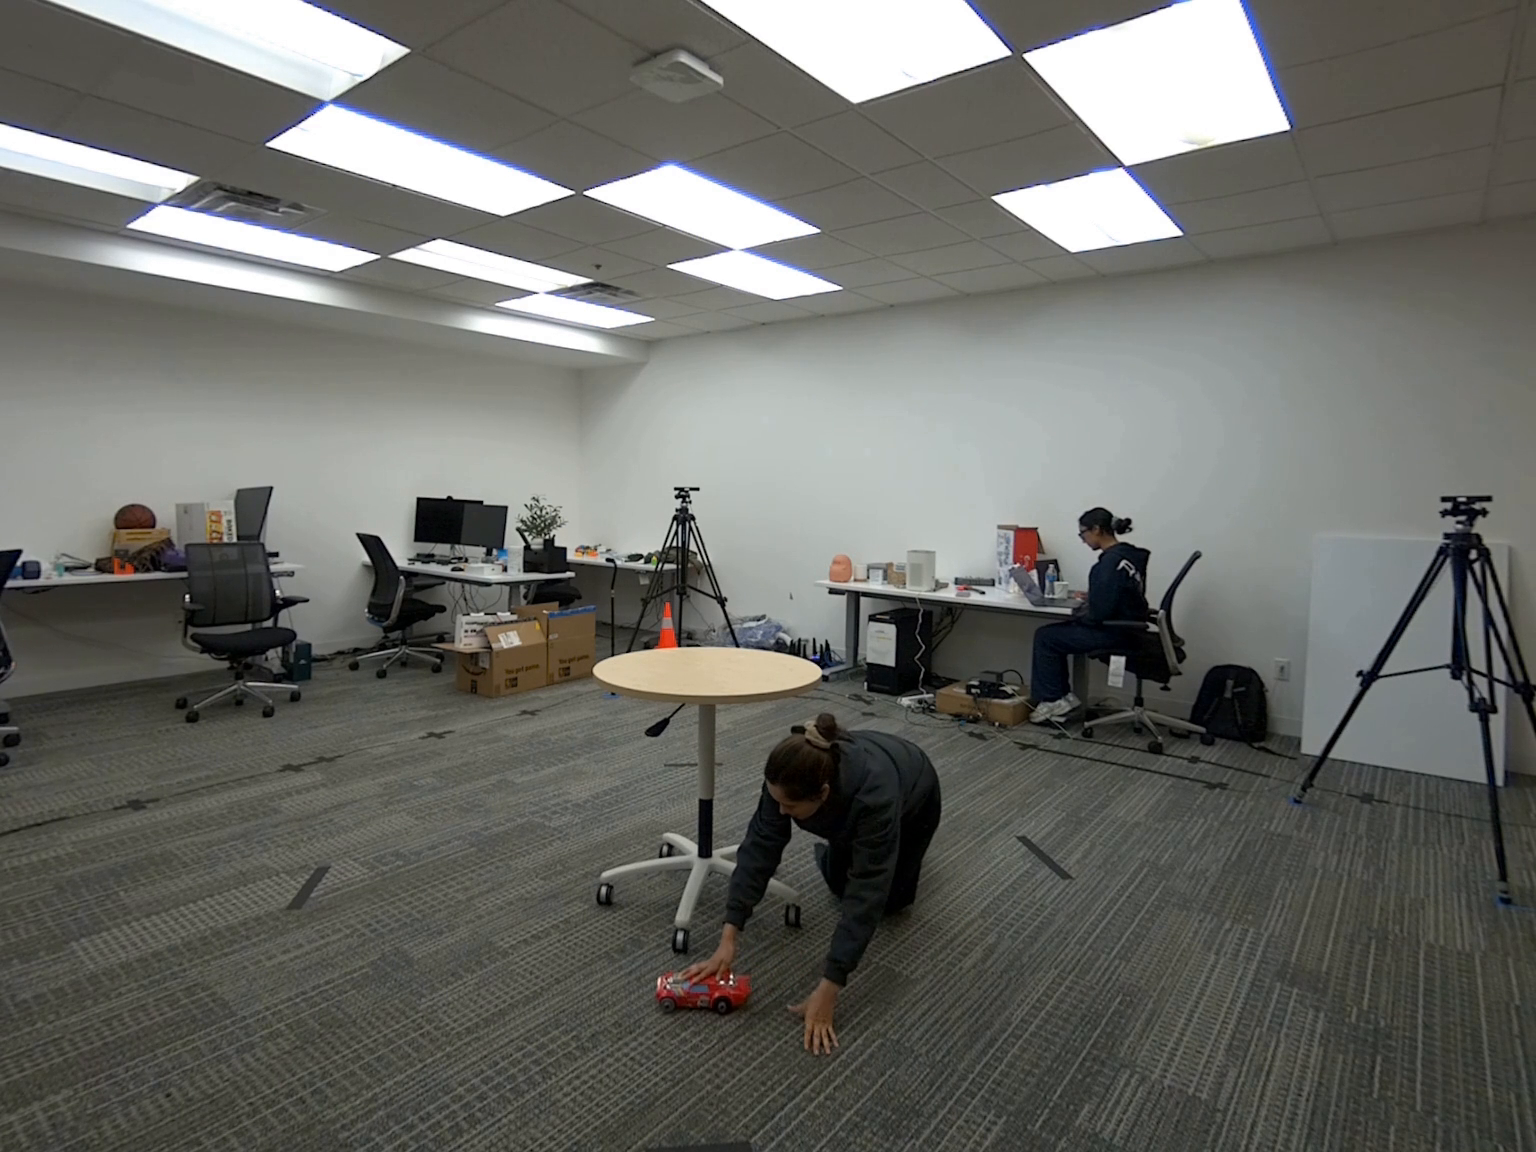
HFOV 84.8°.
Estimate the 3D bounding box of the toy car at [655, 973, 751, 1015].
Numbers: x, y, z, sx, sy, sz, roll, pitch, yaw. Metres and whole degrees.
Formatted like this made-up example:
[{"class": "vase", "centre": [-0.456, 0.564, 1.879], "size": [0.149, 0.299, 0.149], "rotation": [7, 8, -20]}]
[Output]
[{"class": "toy car", "centre": [-0.173, 1.115, 2.300], "size": [0.255, 0.083, 0.130], "rotation": [-10, 4, 2]}]
